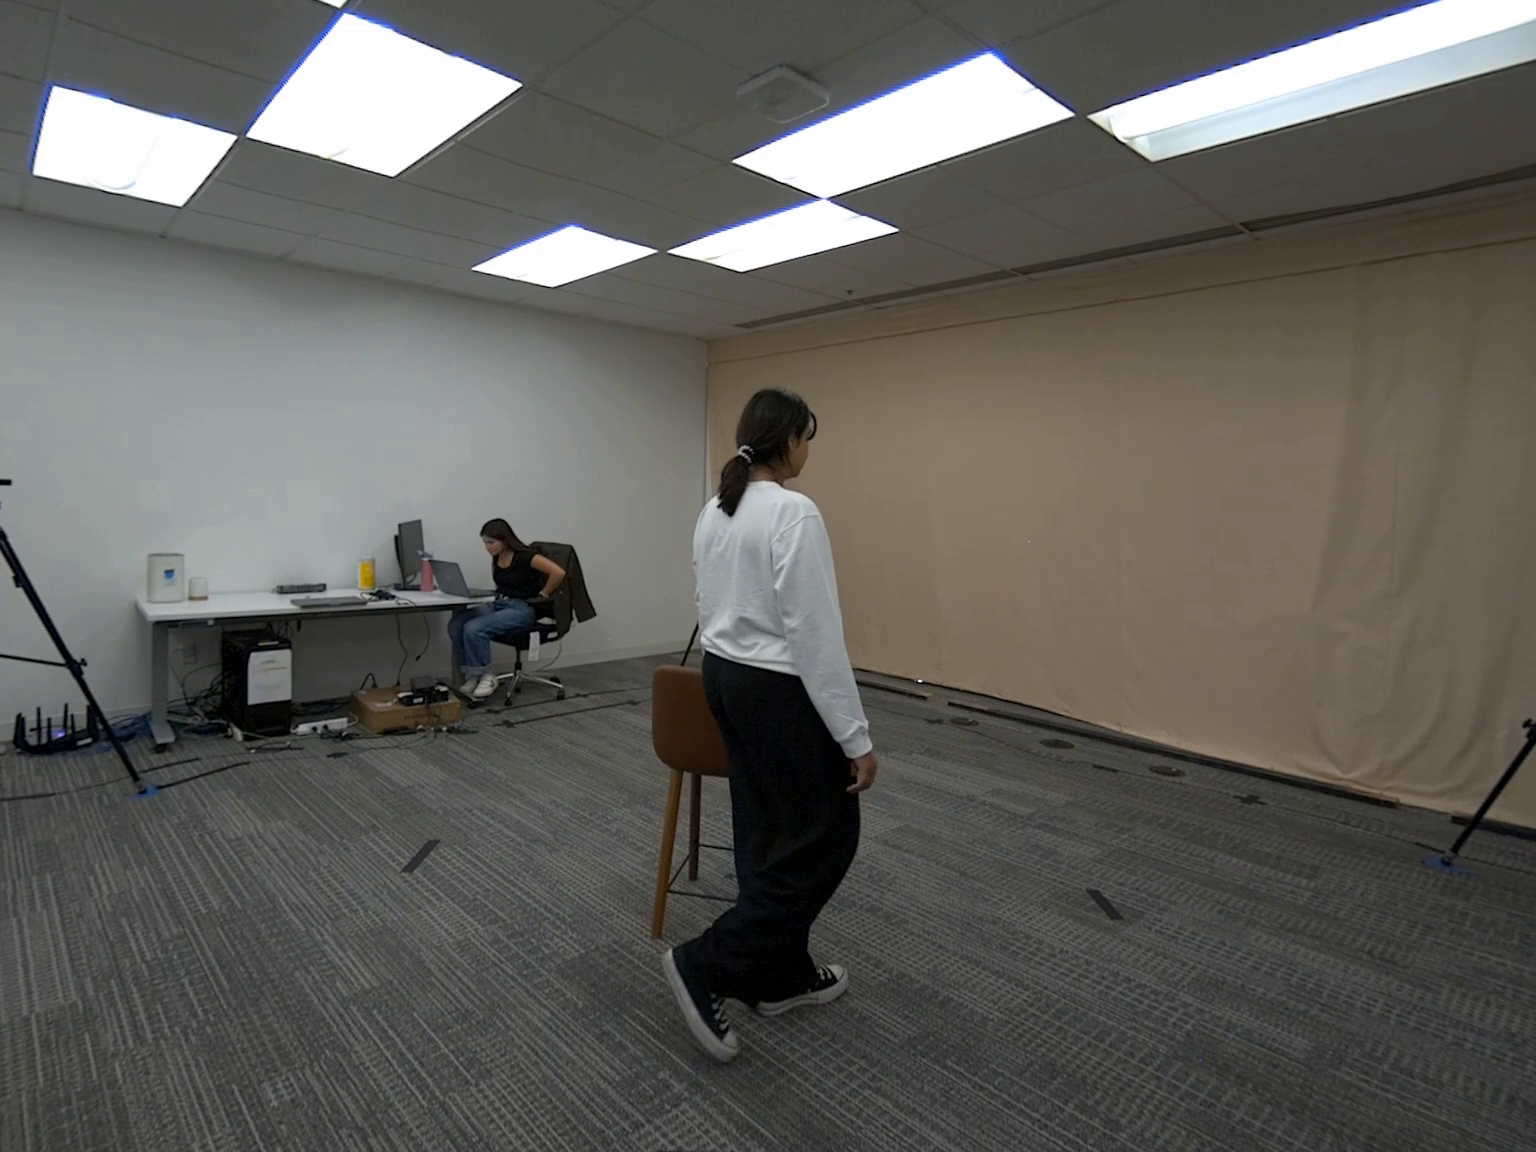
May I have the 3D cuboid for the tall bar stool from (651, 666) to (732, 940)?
[{"bbox_3d":[-0.133,0.705,2.785,0.462,0.886,0.463,2,5,15],"label":"tall bar stool"}]
